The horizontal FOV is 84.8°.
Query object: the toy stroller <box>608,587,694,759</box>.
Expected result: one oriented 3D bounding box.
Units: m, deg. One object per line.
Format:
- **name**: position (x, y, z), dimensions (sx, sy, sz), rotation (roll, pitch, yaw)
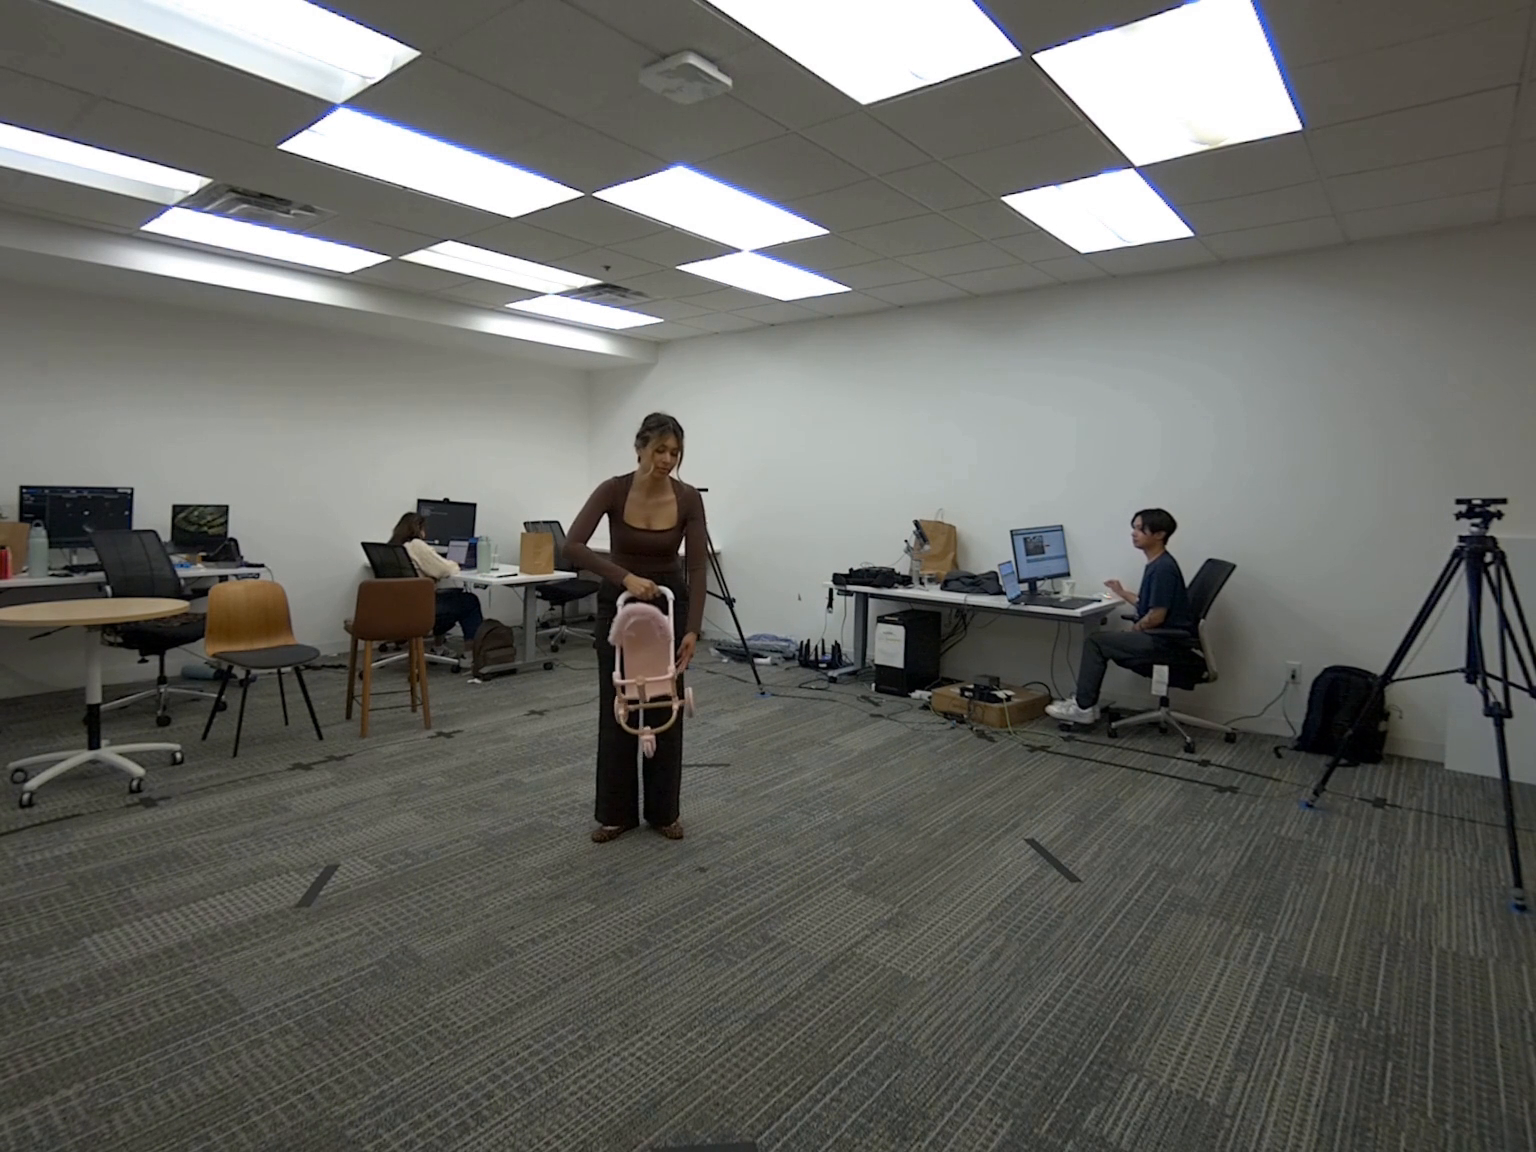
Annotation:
- **toy stroller**: position (-0.440, 0.323, 2.949), dimensions (0.283, 0.533, 0.340), rotation (-5, 3, 5)
